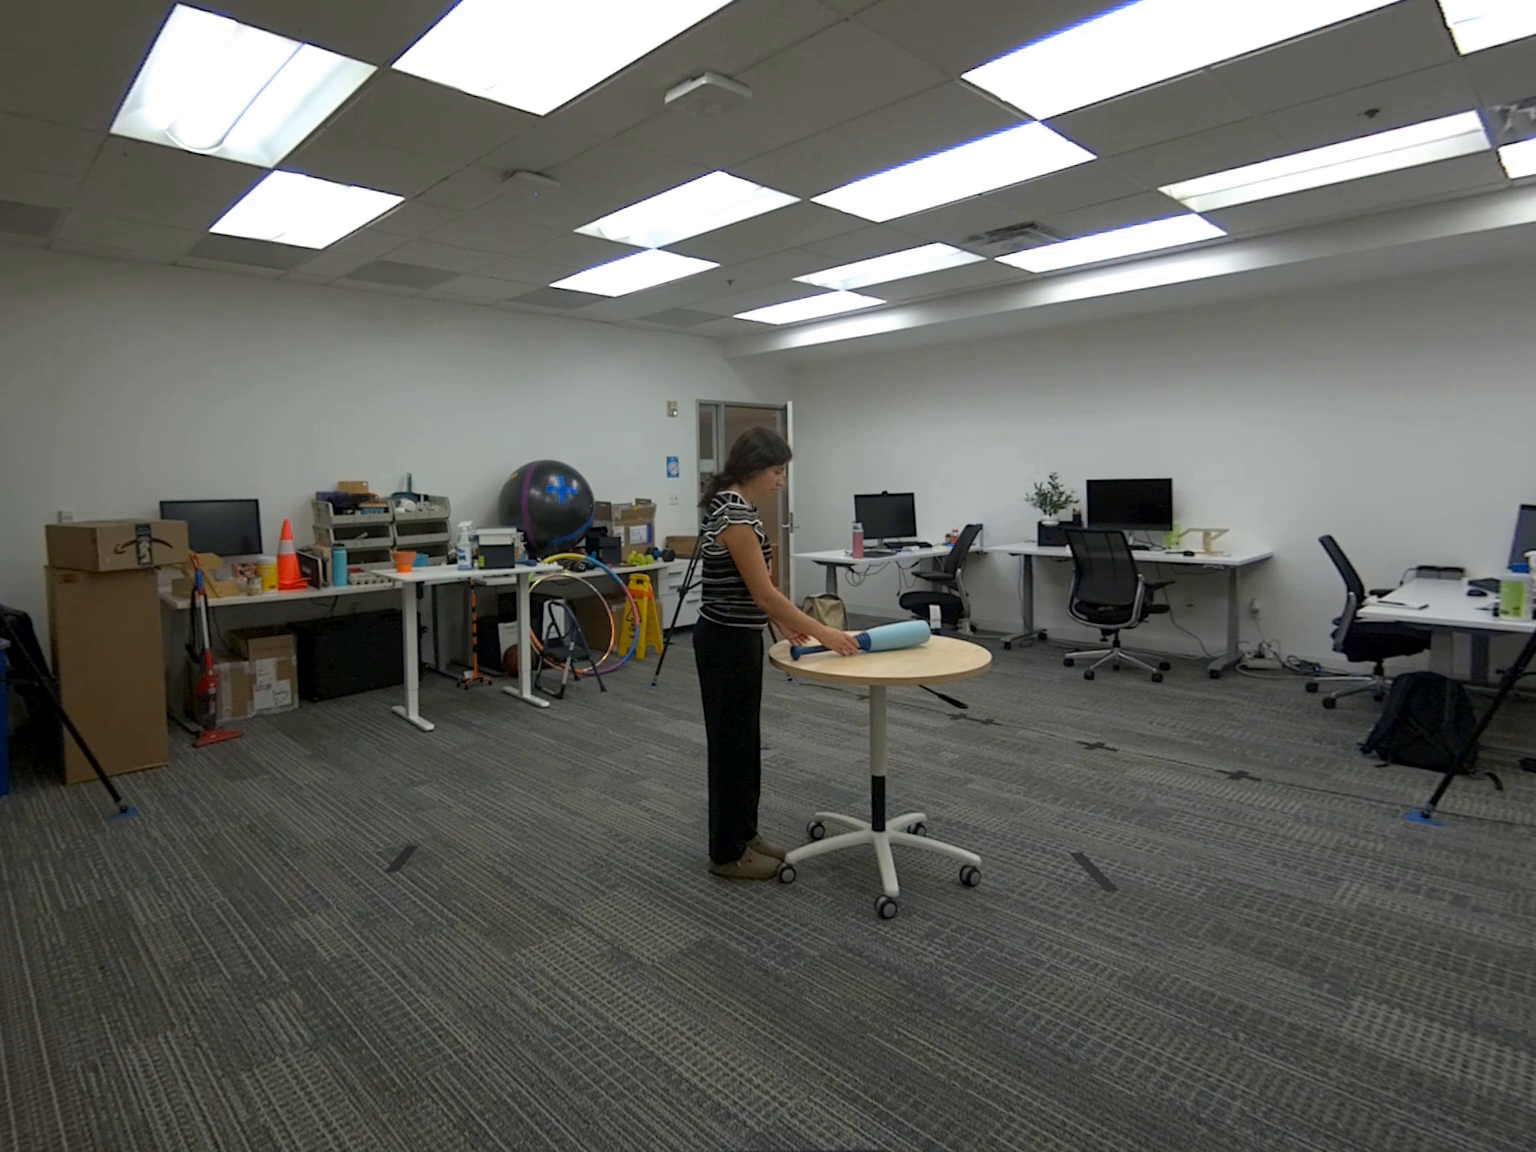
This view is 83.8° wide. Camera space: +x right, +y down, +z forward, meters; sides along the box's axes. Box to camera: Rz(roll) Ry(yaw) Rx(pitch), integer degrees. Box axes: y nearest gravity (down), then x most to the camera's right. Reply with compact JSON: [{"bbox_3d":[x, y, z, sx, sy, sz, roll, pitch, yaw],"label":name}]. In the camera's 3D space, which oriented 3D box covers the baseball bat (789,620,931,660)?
[{"bbox_3d":[0.324,0.229,2.989,0.534,0.088,0.091,-7,7,-21],"label":"baseball bat"}]
